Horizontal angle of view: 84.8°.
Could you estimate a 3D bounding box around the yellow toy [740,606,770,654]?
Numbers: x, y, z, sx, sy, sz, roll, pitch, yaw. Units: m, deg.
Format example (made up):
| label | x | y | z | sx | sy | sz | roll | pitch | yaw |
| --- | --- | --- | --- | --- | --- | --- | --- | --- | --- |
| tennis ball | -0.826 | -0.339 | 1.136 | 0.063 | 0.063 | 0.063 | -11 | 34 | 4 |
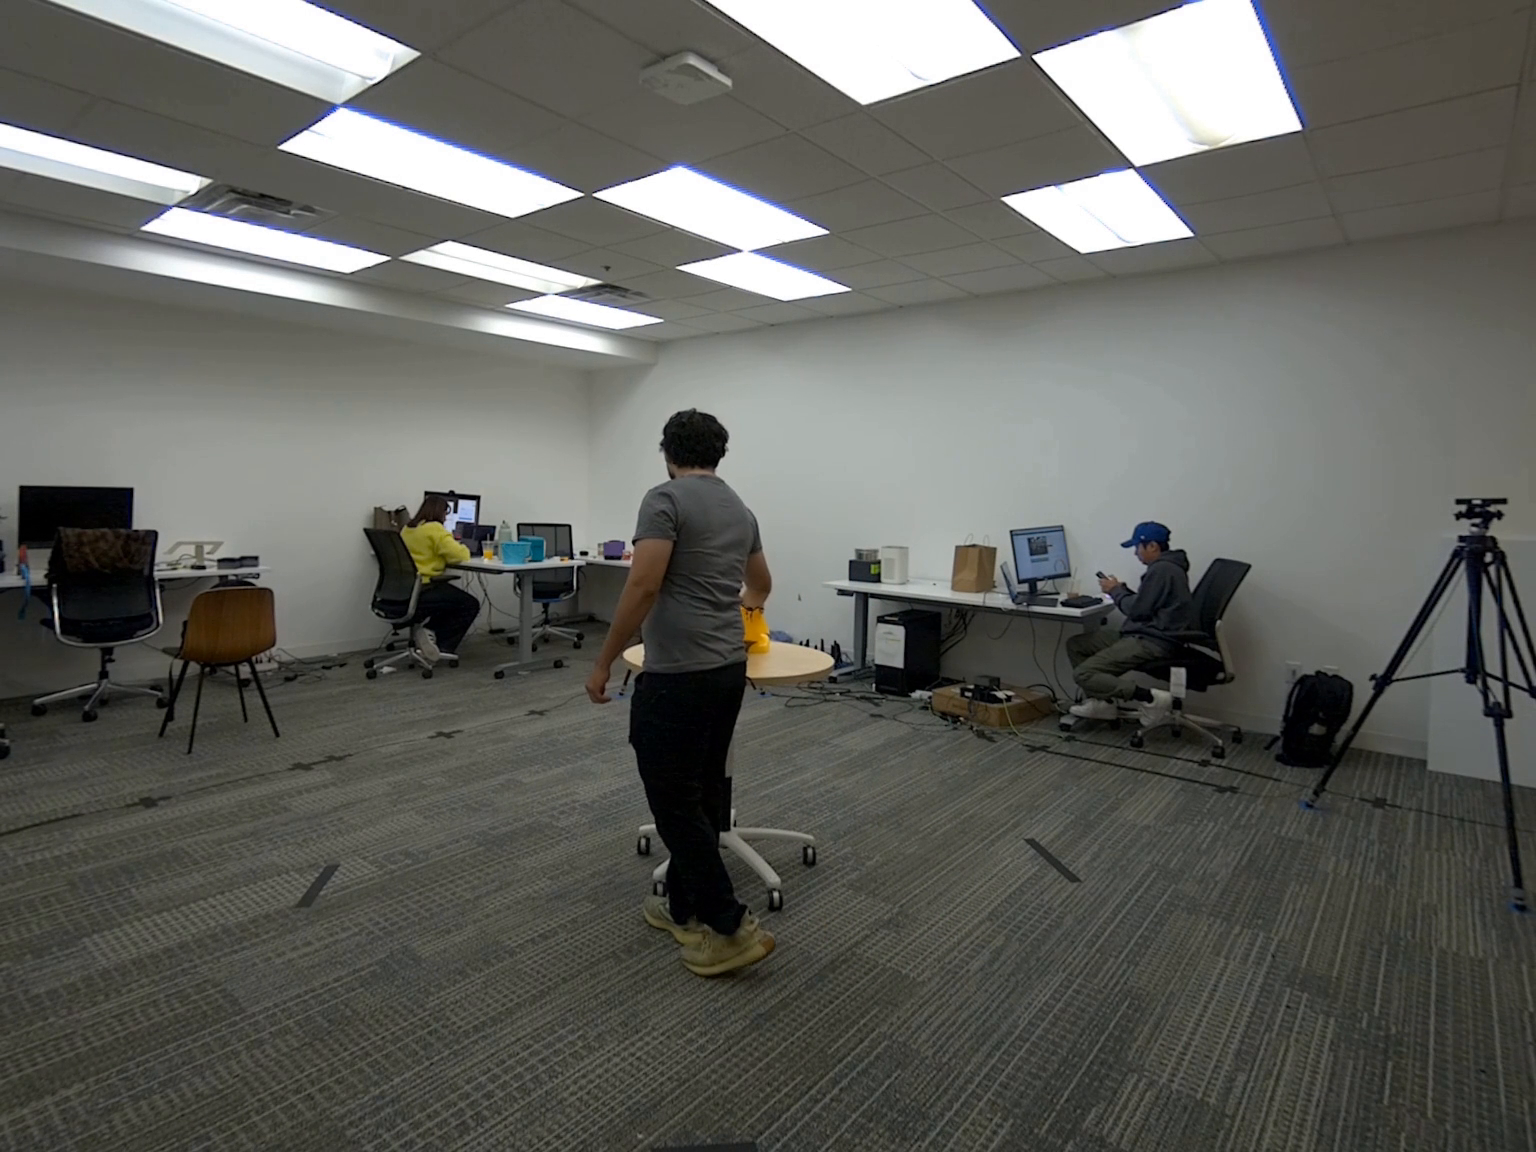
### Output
| label | x | y | z | sx | sy | sz | roll | pitch | yaw |
| --- | --- | --- | --- | --- | --- | --- | --- | --- | --- |
| yellow toy | -0.103 | 0.162 | 3.232 | 0.206 | 0.230 | 0.193 | 0 | 4 | 4 |
